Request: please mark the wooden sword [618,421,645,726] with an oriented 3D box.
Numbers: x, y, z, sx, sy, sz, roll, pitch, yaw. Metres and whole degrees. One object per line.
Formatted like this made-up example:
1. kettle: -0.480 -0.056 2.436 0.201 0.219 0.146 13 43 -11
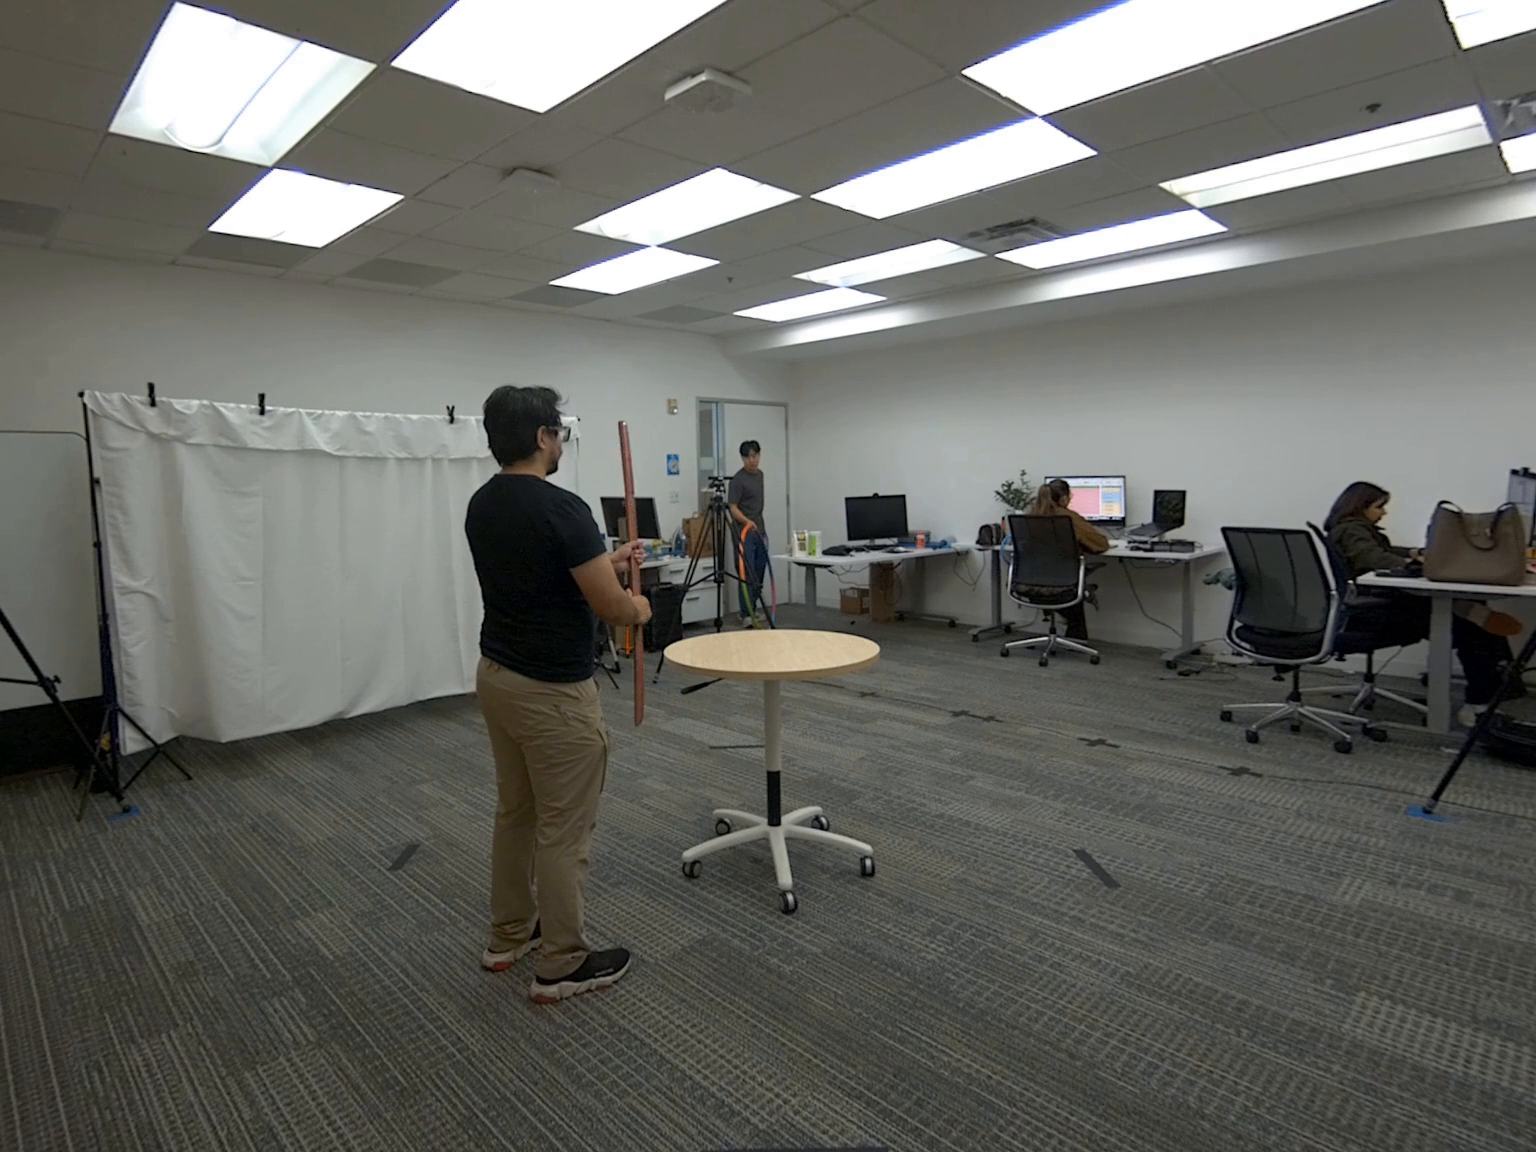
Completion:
1. wooden sword: -0.420 -0.041 2.658 0.049 1.048 0.024 14 -32 -39
